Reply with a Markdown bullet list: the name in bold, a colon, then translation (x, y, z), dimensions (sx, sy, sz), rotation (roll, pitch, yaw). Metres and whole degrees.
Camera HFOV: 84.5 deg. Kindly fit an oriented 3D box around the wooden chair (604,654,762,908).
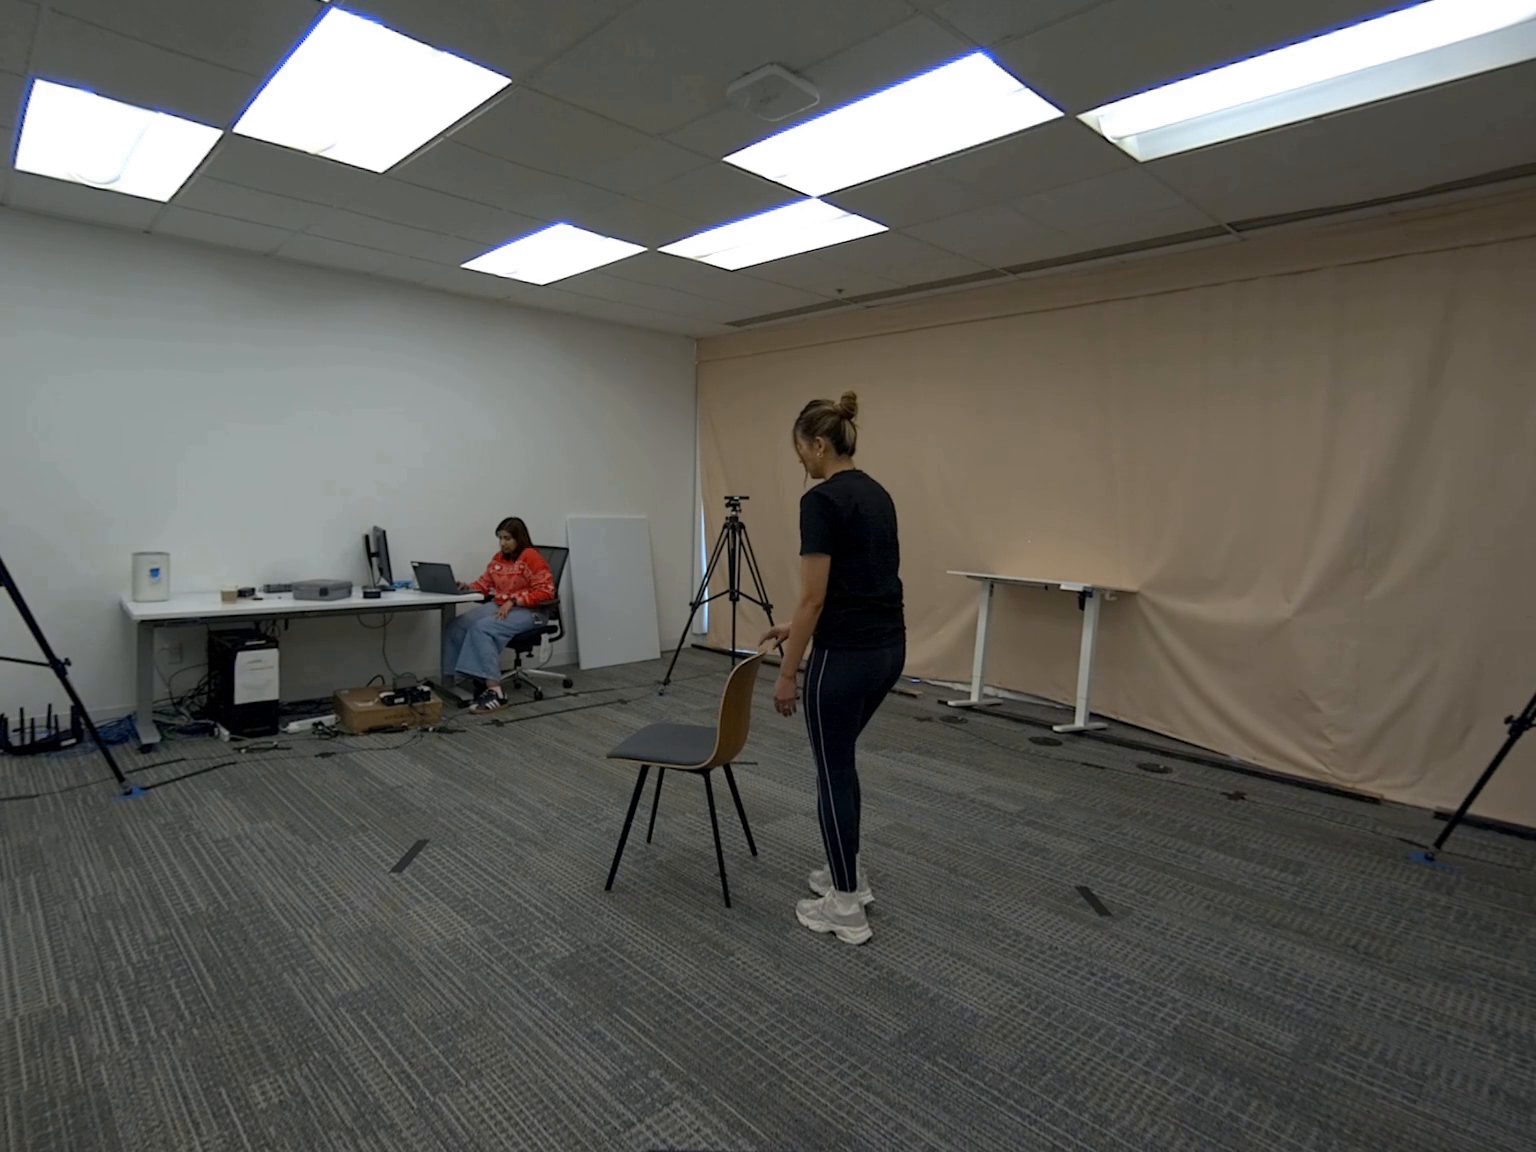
- **wooden chair**: translation (-0.311, 0.674, 3.087), dimensions (0.529, 0.875, 0.474), rotation (6, 5, 13)
